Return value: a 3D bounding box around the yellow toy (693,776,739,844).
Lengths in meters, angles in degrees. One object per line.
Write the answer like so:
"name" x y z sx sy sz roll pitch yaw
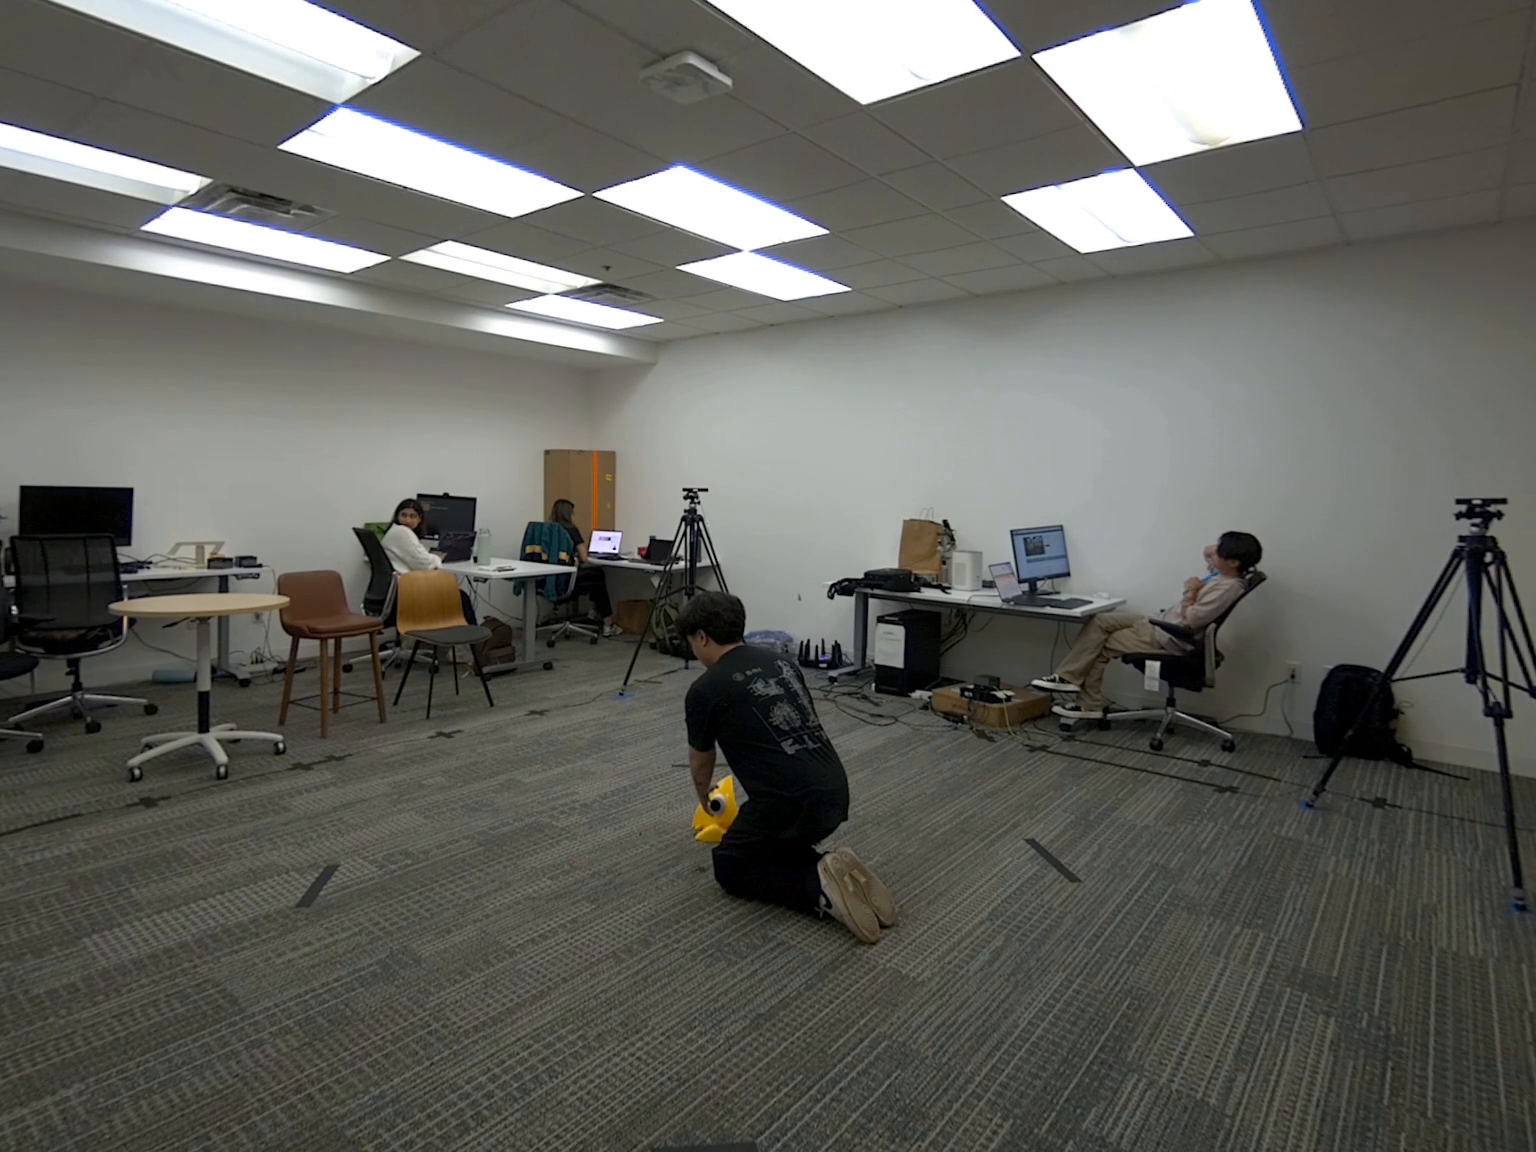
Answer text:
"yellow toy" -0.220 0.924 3.454 0.191 0.230 0.207 1 2 -9
